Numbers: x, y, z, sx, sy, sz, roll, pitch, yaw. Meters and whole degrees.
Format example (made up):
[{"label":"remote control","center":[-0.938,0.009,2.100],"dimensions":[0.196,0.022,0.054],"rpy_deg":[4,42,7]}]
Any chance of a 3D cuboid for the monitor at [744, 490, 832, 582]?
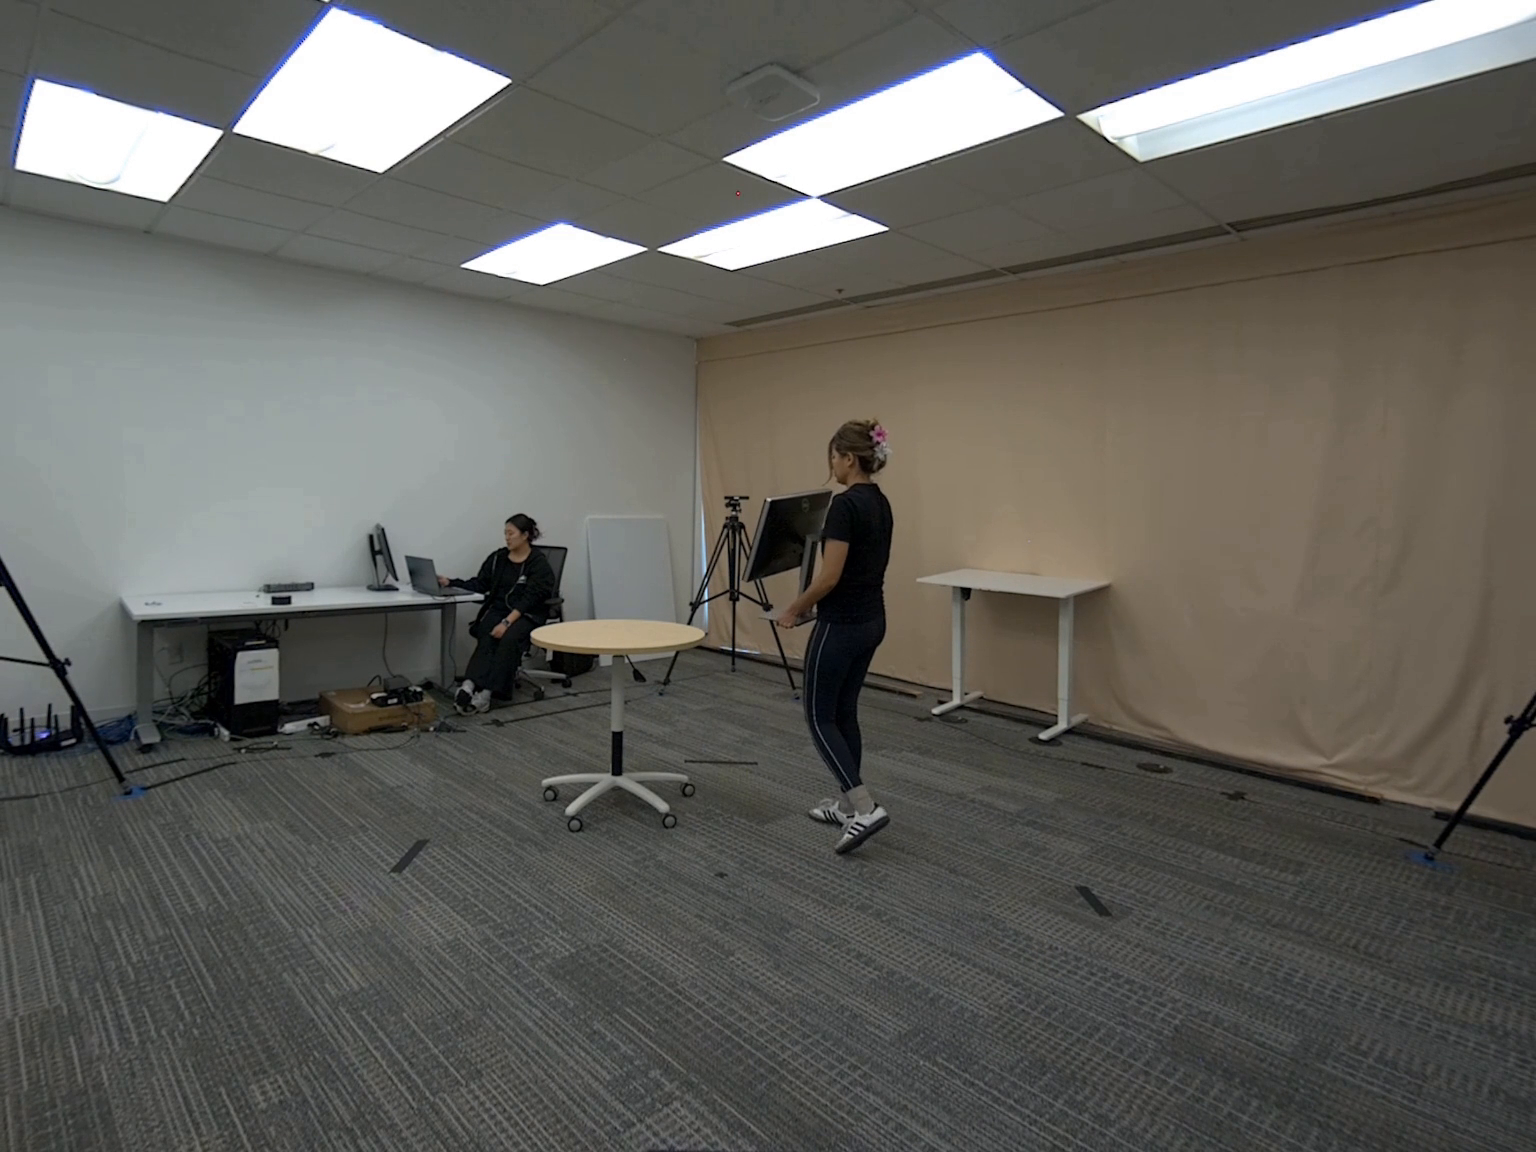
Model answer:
[{"label":"monitor","center":[0.112,-0.090,3.603],"dimensions":[0.191,0.518,0.530],"rpy_deg":[11,14,29]}]
